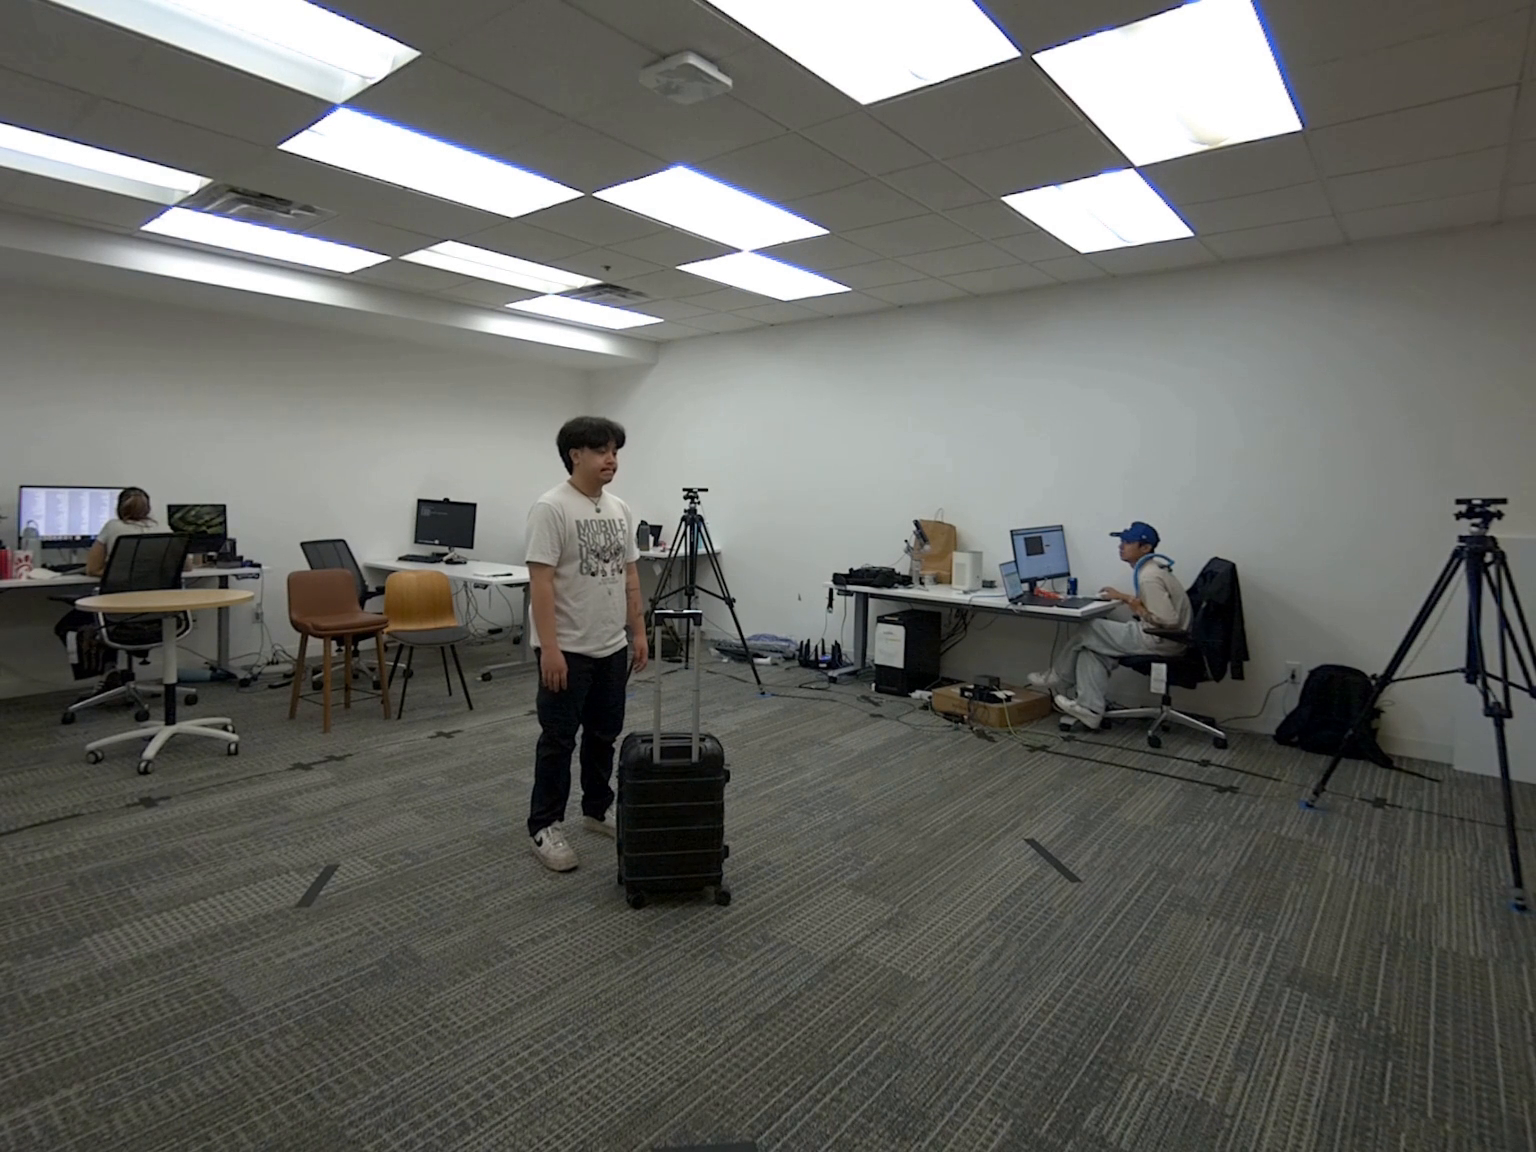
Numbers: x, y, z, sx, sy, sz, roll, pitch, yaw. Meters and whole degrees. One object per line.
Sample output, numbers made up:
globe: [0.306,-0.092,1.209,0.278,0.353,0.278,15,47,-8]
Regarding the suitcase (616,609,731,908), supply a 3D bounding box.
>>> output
suitcase: [-0.340,0.609,2.921,0.379,0.979,0.260,1,0,-11]
